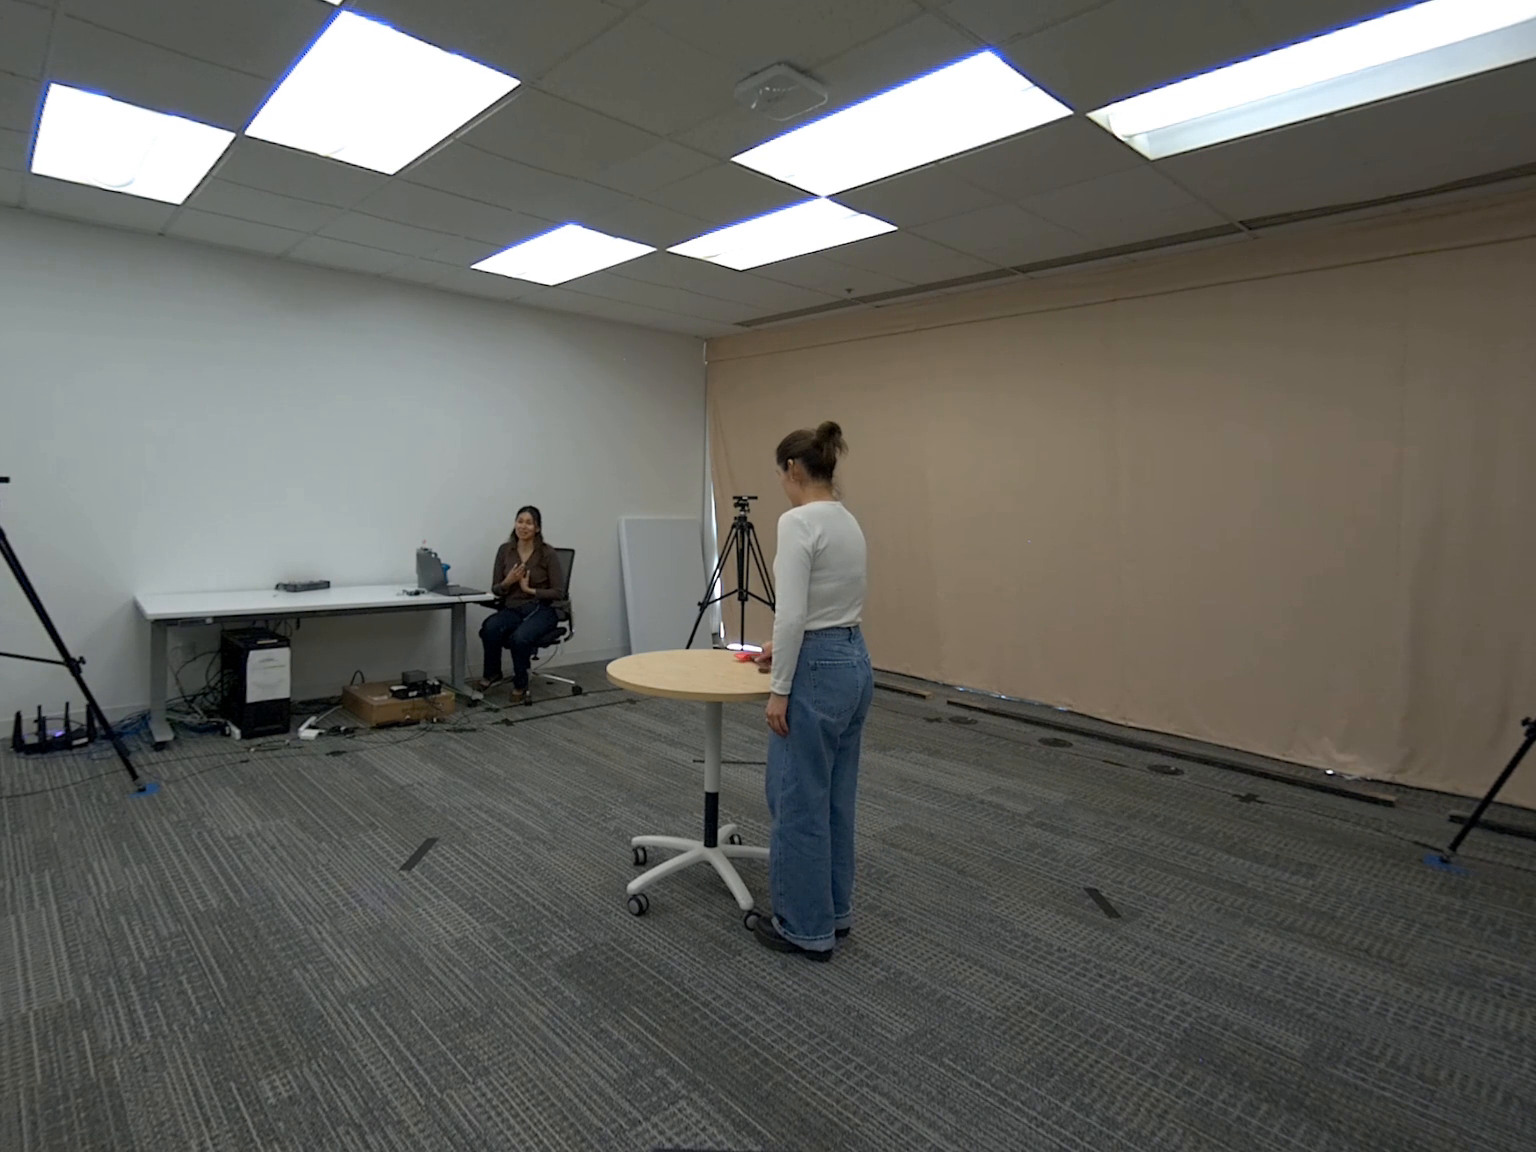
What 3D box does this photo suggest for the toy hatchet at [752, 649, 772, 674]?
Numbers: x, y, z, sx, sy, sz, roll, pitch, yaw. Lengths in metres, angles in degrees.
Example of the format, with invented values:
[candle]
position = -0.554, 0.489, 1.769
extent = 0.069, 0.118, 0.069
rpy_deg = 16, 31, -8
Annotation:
[toy hatchet]
position = -0.069, 0.314, 3.057
extent = 0.131, 0.029, 0.271
rpy_deg = 7, 6, -1
